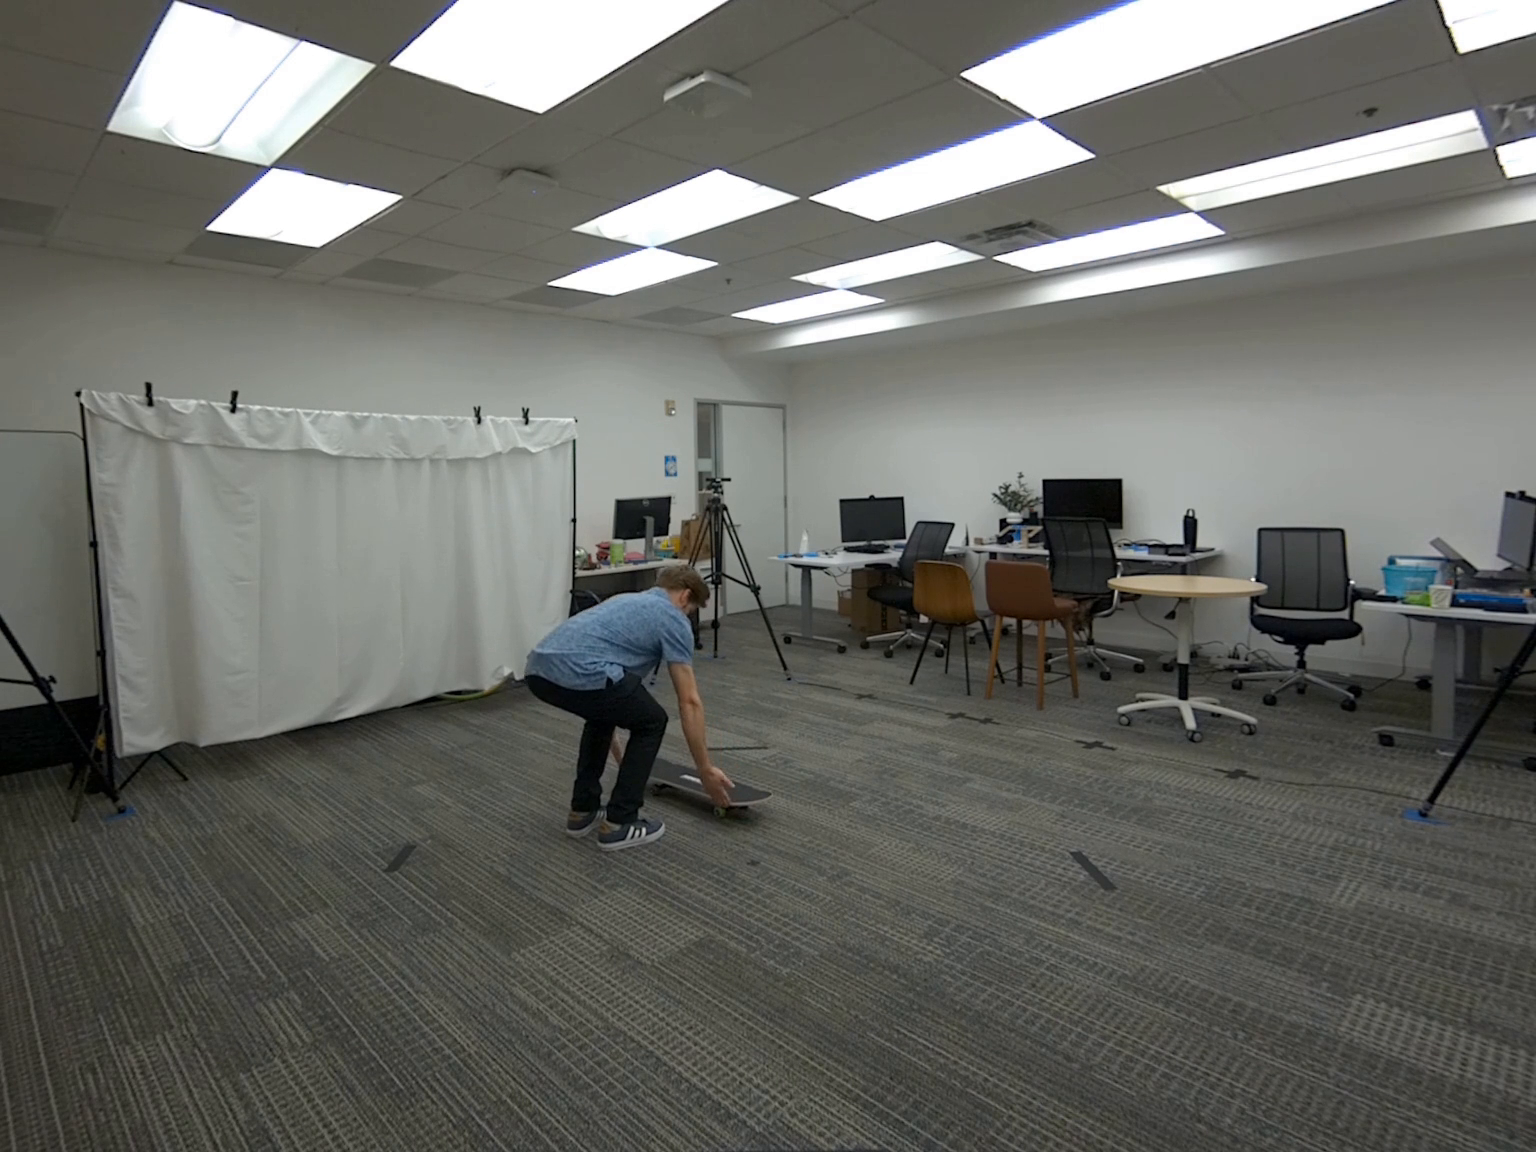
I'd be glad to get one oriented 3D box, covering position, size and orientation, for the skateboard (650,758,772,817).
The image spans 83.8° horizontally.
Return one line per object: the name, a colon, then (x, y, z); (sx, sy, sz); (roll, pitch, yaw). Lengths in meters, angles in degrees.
skateboard: (-0.301, 0.921, 3.708); (0.810, 0.110, 0.188); (5, 8, 42)
